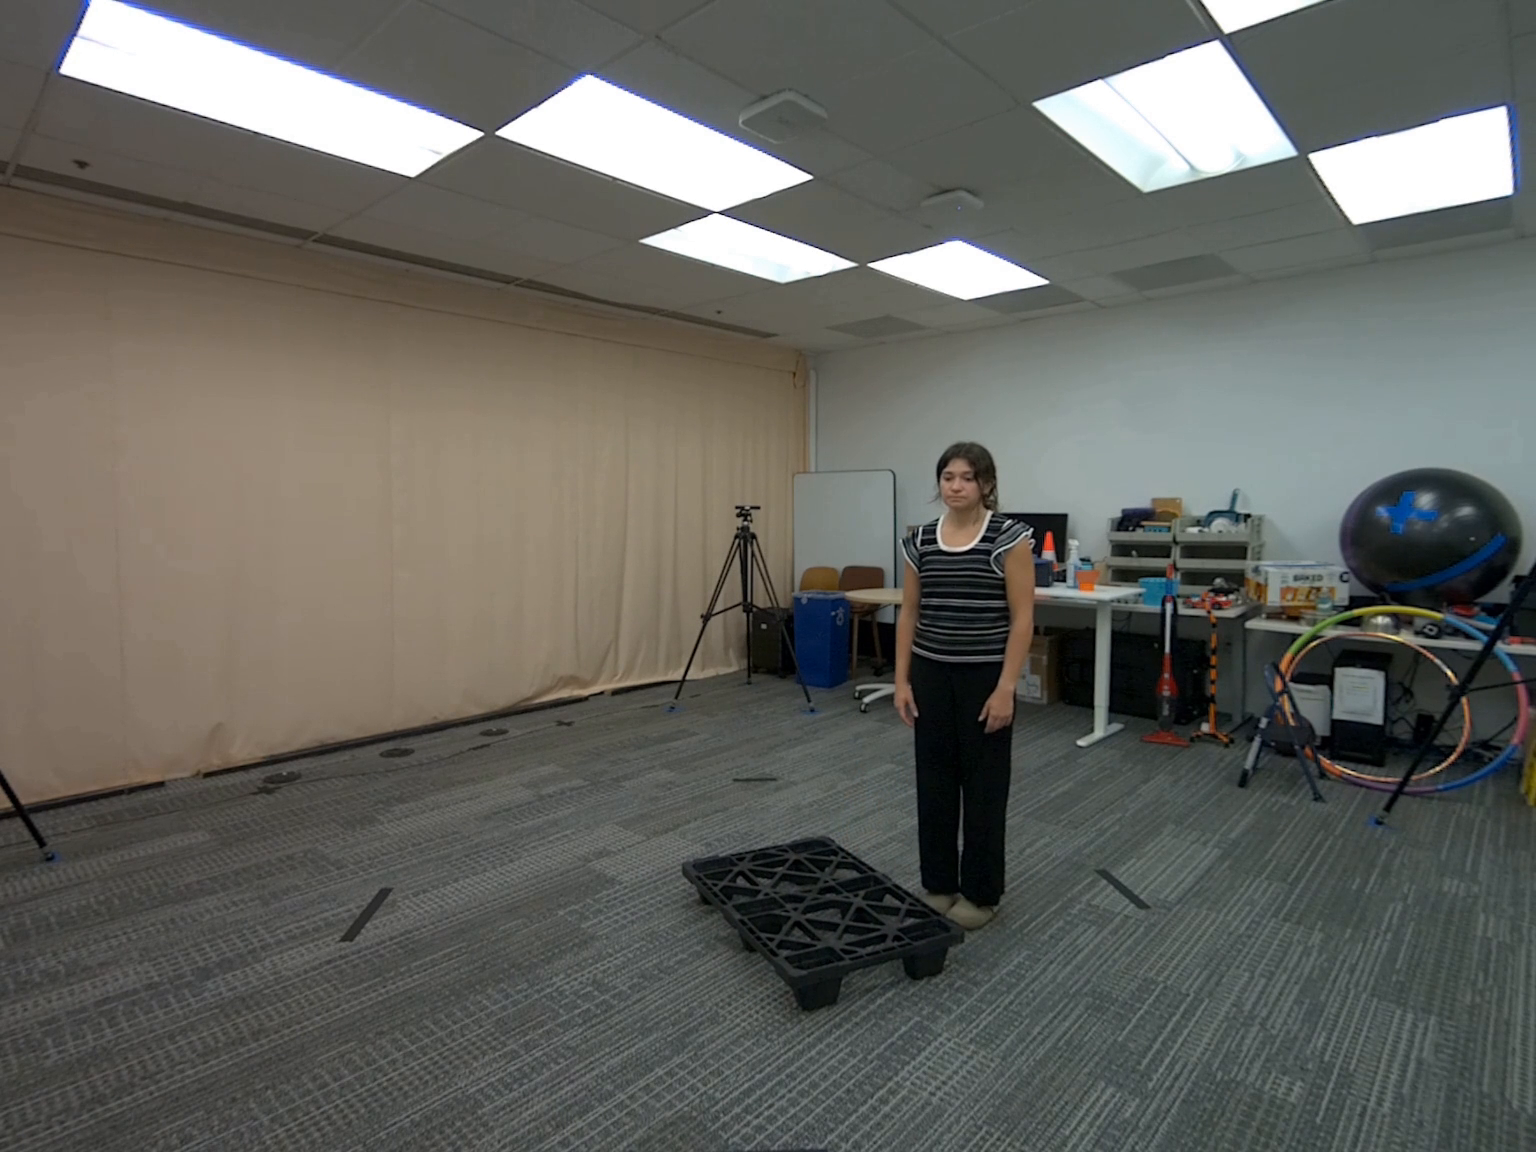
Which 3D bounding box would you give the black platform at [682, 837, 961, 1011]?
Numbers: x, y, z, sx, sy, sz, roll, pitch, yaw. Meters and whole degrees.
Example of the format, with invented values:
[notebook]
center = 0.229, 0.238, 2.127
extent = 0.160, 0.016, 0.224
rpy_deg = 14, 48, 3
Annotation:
[black platform]
center = 0.143, 1.098, 2.731
extent = 0.591, 0.143, 0.827
rpy_deg = -3, 5, -26
